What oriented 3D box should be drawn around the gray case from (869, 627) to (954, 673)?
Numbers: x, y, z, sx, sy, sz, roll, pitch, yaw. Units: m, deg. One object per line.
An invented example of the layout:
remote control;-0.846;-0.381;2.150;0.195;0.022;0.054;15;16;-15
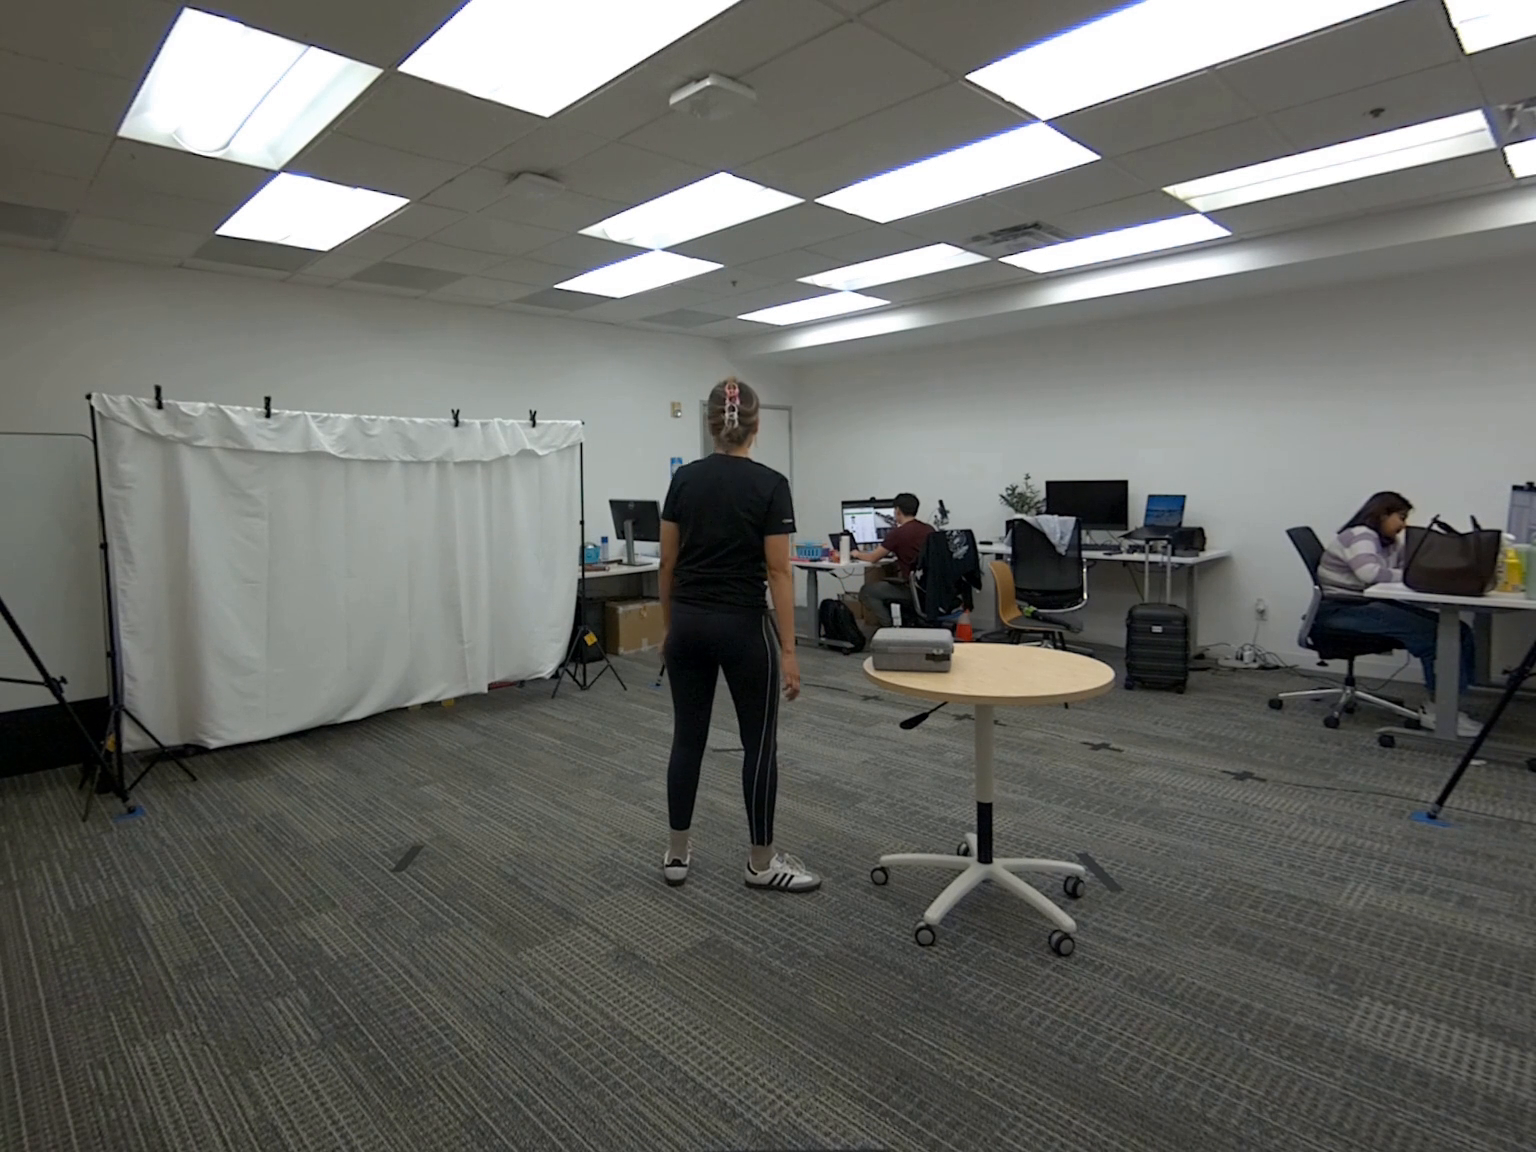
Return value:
gray case;0.466;0.238;2.812;0.261;0.104;0.257;-2;5;16
